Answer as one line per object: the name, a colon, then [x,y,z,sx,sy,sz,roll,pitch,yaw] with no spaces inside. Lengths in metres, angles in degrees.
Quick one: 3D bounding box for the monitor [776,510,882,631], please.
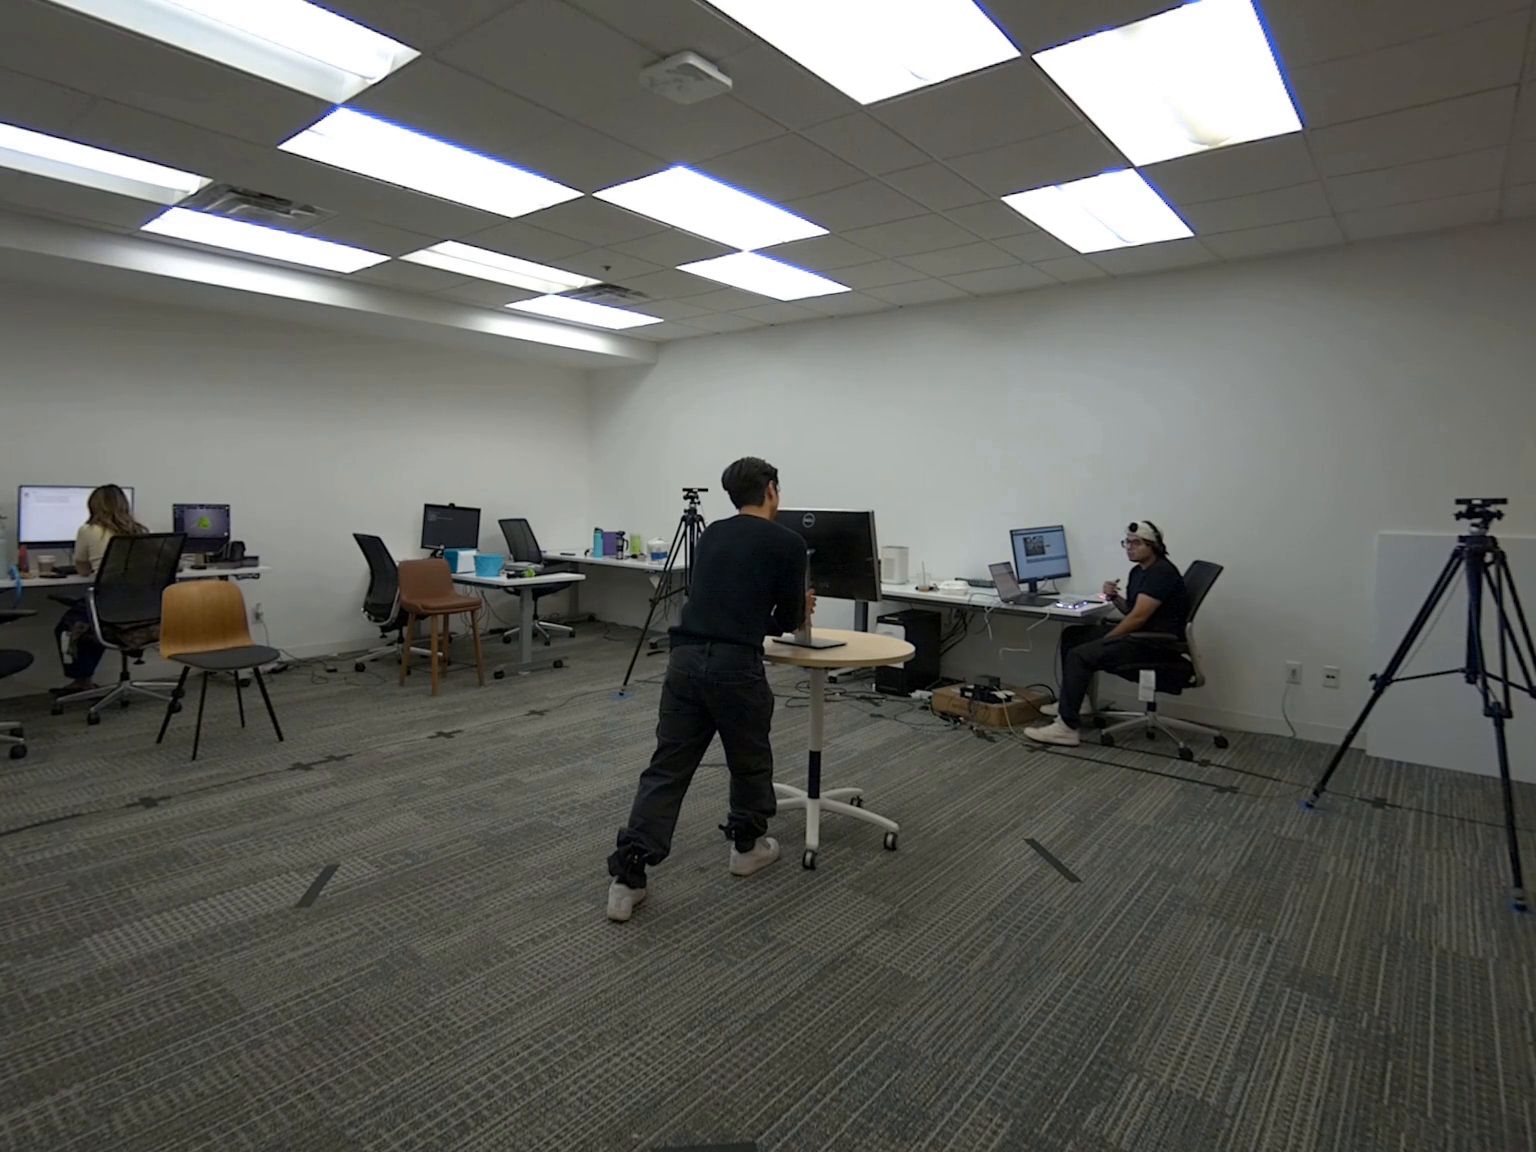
monitor: [0.169,-0.003,3.416,0.547,0.517,0.169,2,-2,40]
